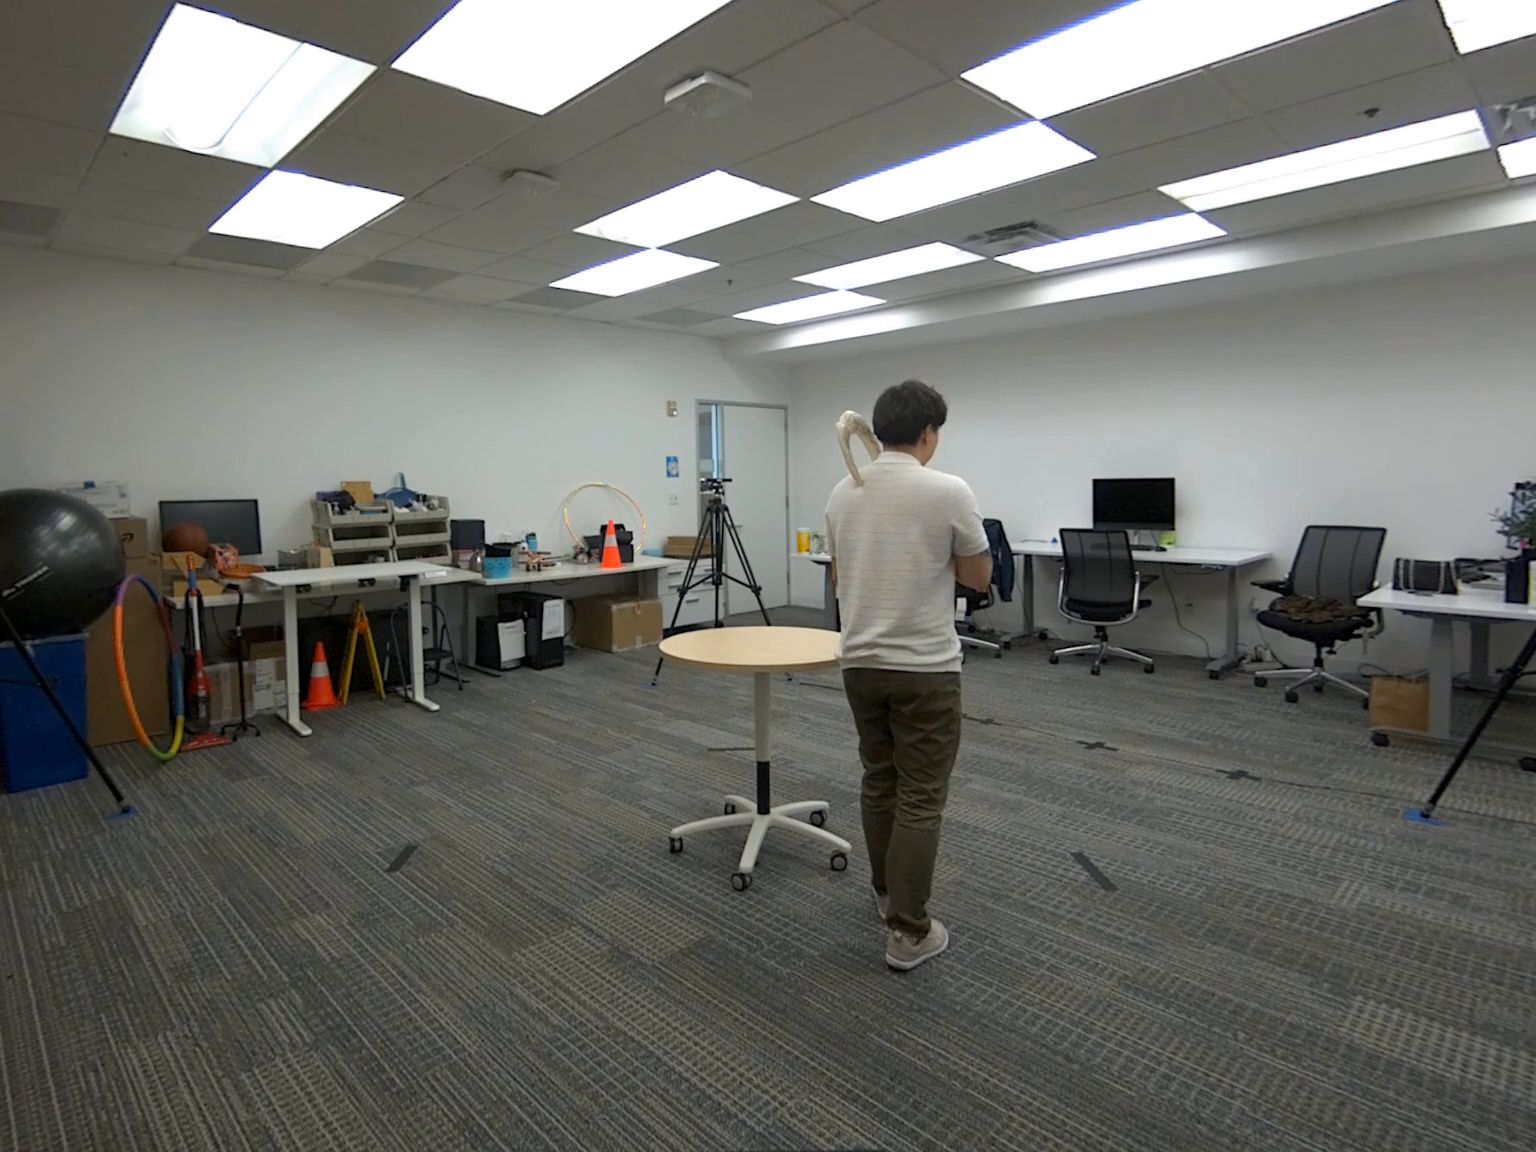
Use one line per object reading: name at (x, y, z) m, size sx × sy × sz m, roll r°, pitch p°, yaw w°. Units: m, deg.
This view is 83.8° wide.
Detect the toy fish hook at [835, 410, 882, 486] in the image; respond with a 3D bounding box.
toy fish hook at (0.353, -0.278, 2.647) m, size 0.049 × 0.496 × 0.225 m, roll -15°, pitch 23°, yaw 39°
